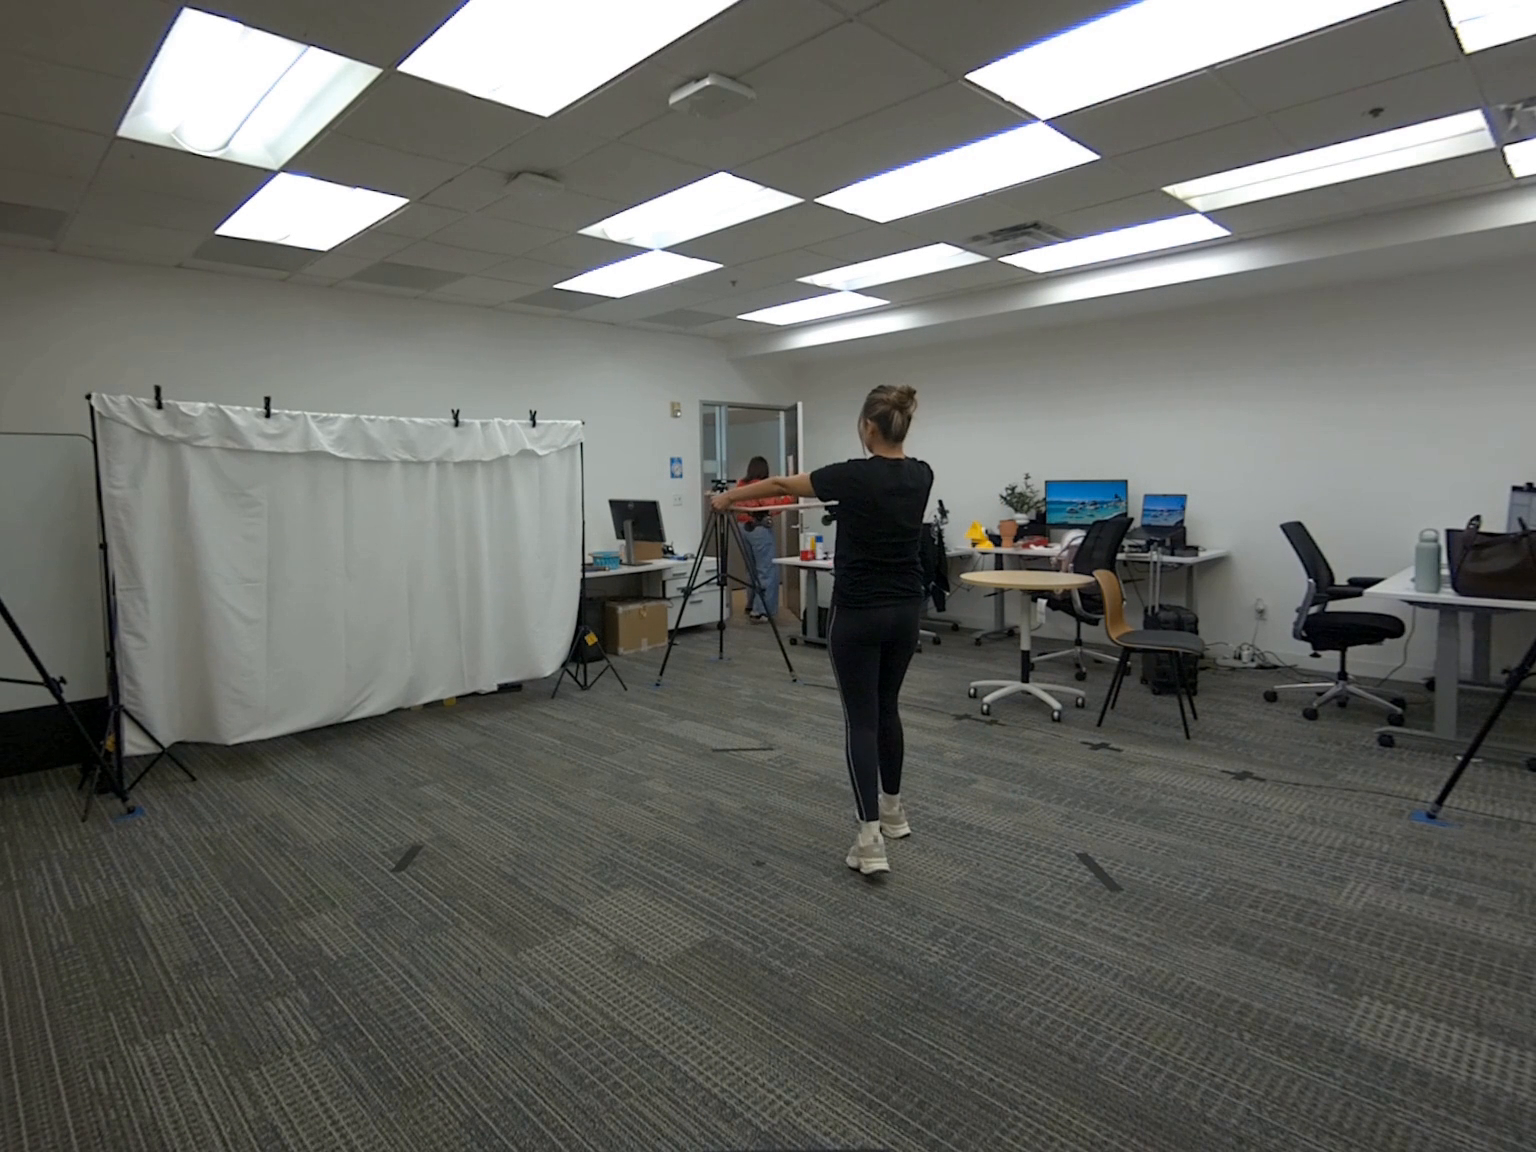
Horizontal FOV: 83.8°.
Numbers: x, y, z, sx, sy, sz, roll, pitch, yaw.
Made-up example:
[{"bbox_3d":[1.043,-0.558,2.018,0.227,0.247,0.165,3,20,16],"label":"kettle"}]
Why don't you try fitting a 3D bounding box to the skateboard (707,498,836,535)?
[{"bbox_3d":[0.137,-0.268,3.651,0.768,0.111,0.197,-5,-2,-28],"label":"skateboard"}]
